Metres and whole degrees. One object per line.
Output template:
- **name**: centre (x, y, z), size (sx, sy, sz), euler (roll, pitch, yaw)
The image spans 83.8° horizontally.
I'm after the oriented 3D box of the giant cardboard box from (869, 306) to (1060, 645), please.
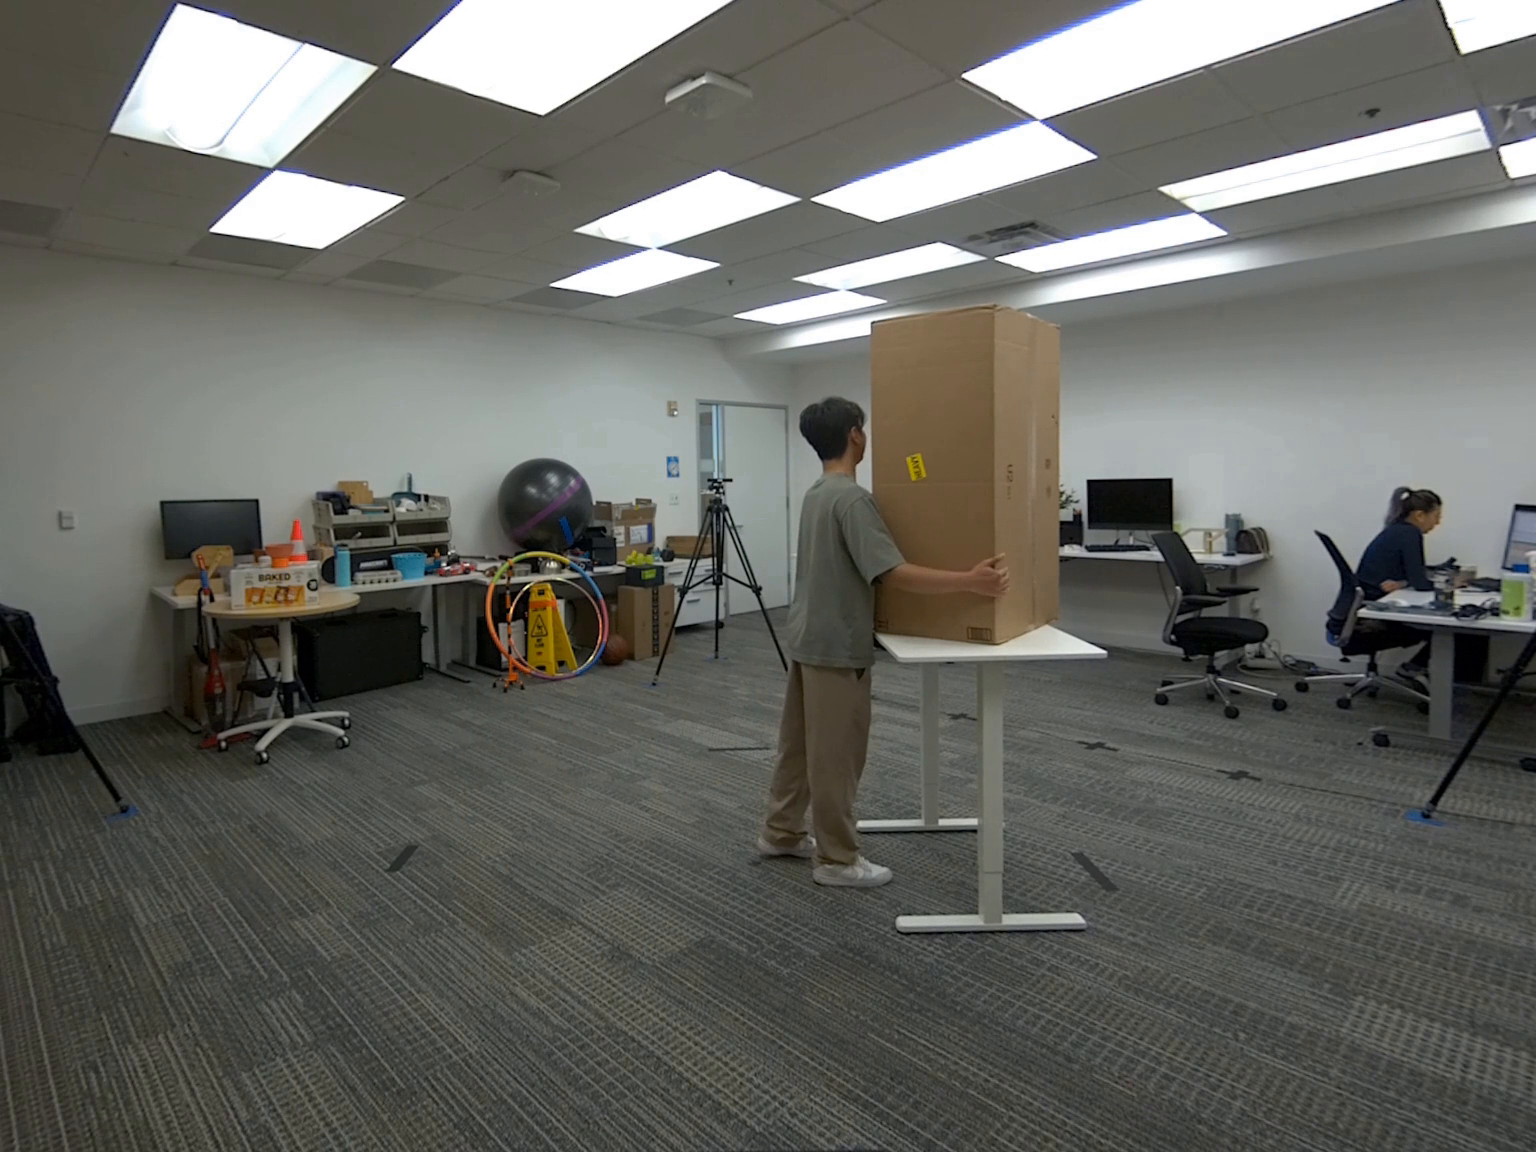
- **giant cardboard box**: centre (0.681, -0.338, 2.900), size (0.439, 1.021, 0.563), euler (2, 6, 38)
